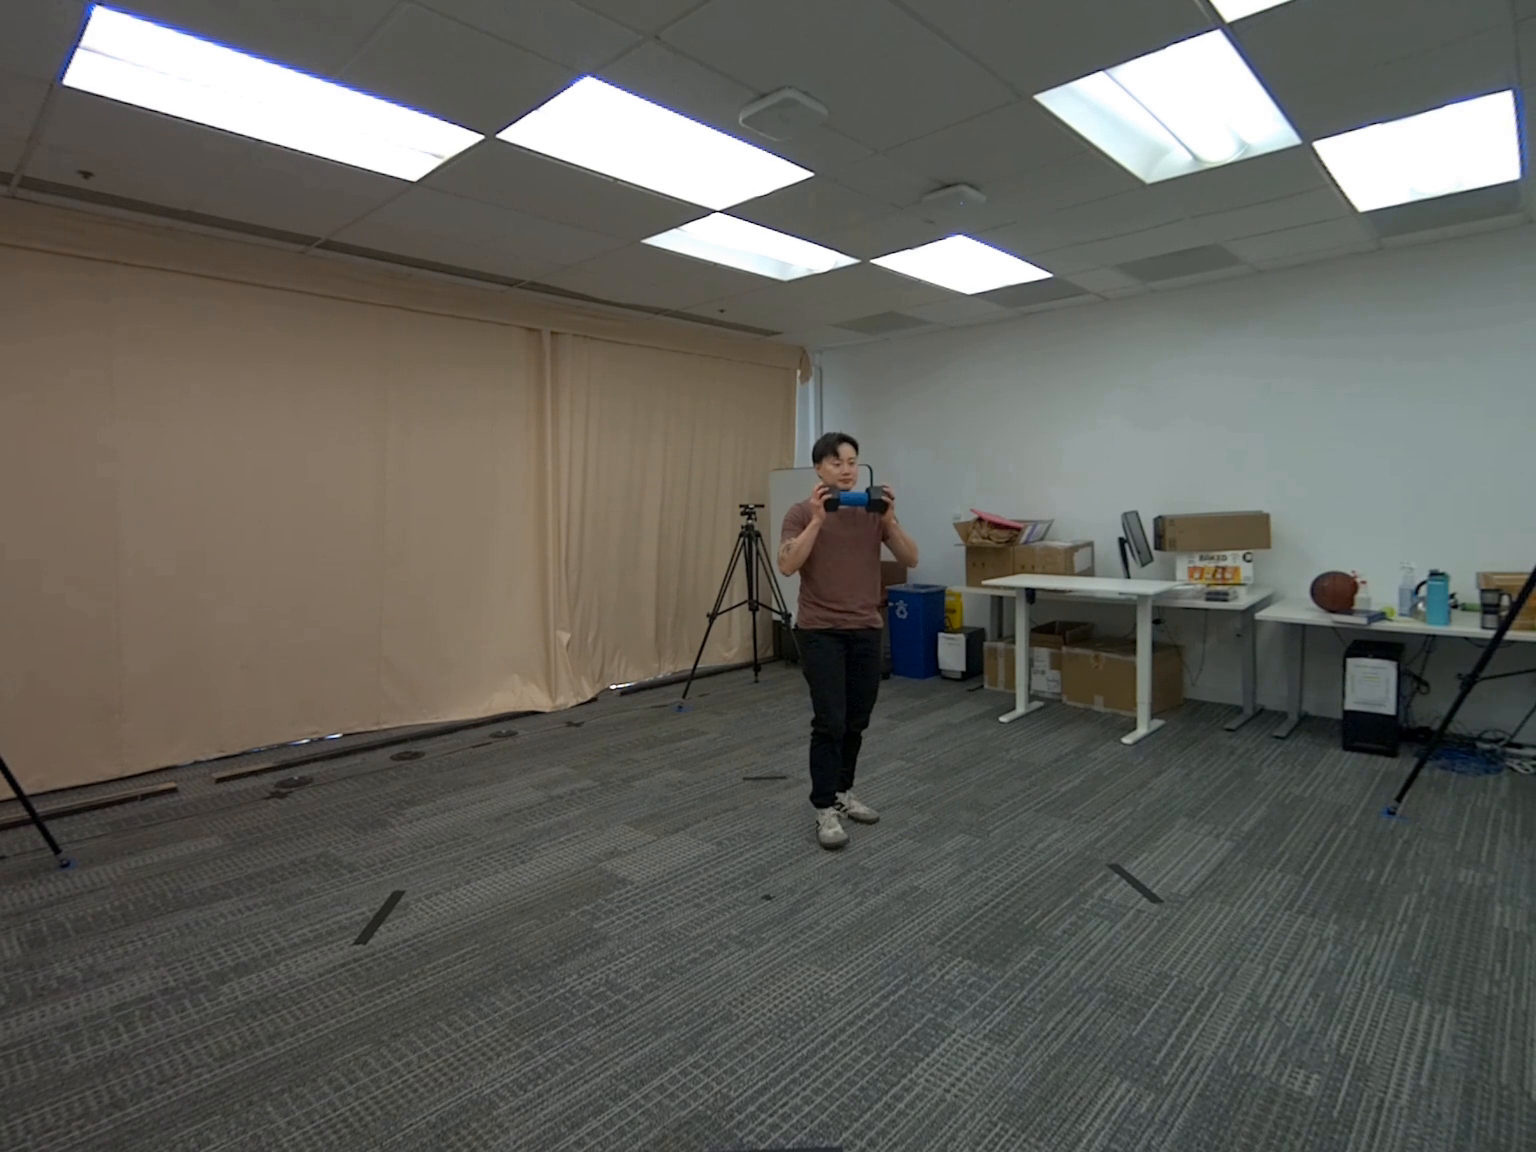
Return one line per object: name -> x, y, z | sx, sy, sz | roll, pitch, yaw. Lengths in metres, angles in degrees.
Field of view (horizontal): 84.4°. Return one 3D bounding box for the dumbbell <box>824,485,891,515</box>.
dumbbell -> 0.341, -0.314, 3.475 | 0.290, 0.109, 0.124 | 1, -3, -9
